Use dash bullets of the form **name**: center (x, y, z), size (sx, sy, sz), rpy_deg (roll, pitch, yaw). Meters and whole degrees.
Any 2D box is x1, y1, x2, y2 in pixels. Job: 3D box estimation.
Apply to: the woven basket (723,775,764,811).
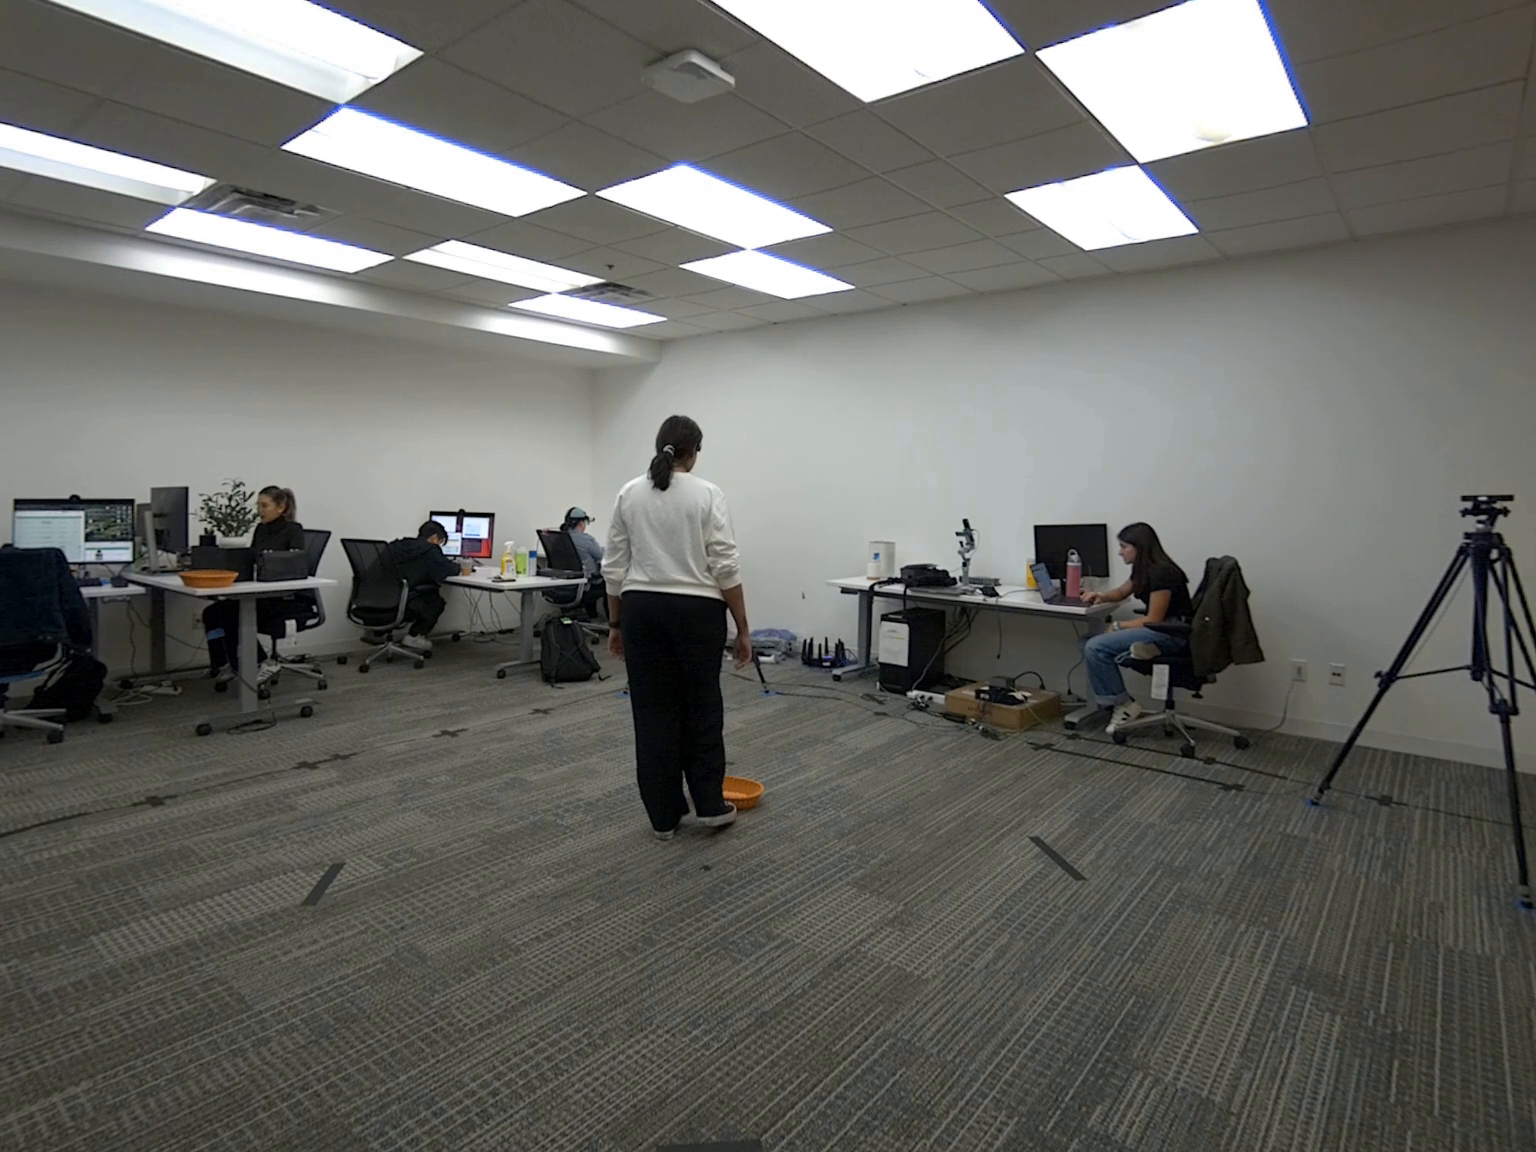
- **woven basket**: center (-0.193, 0.961, 3.771), size (0.358, 0.073, 0.248), rpy_deg (3, 6, 20)
